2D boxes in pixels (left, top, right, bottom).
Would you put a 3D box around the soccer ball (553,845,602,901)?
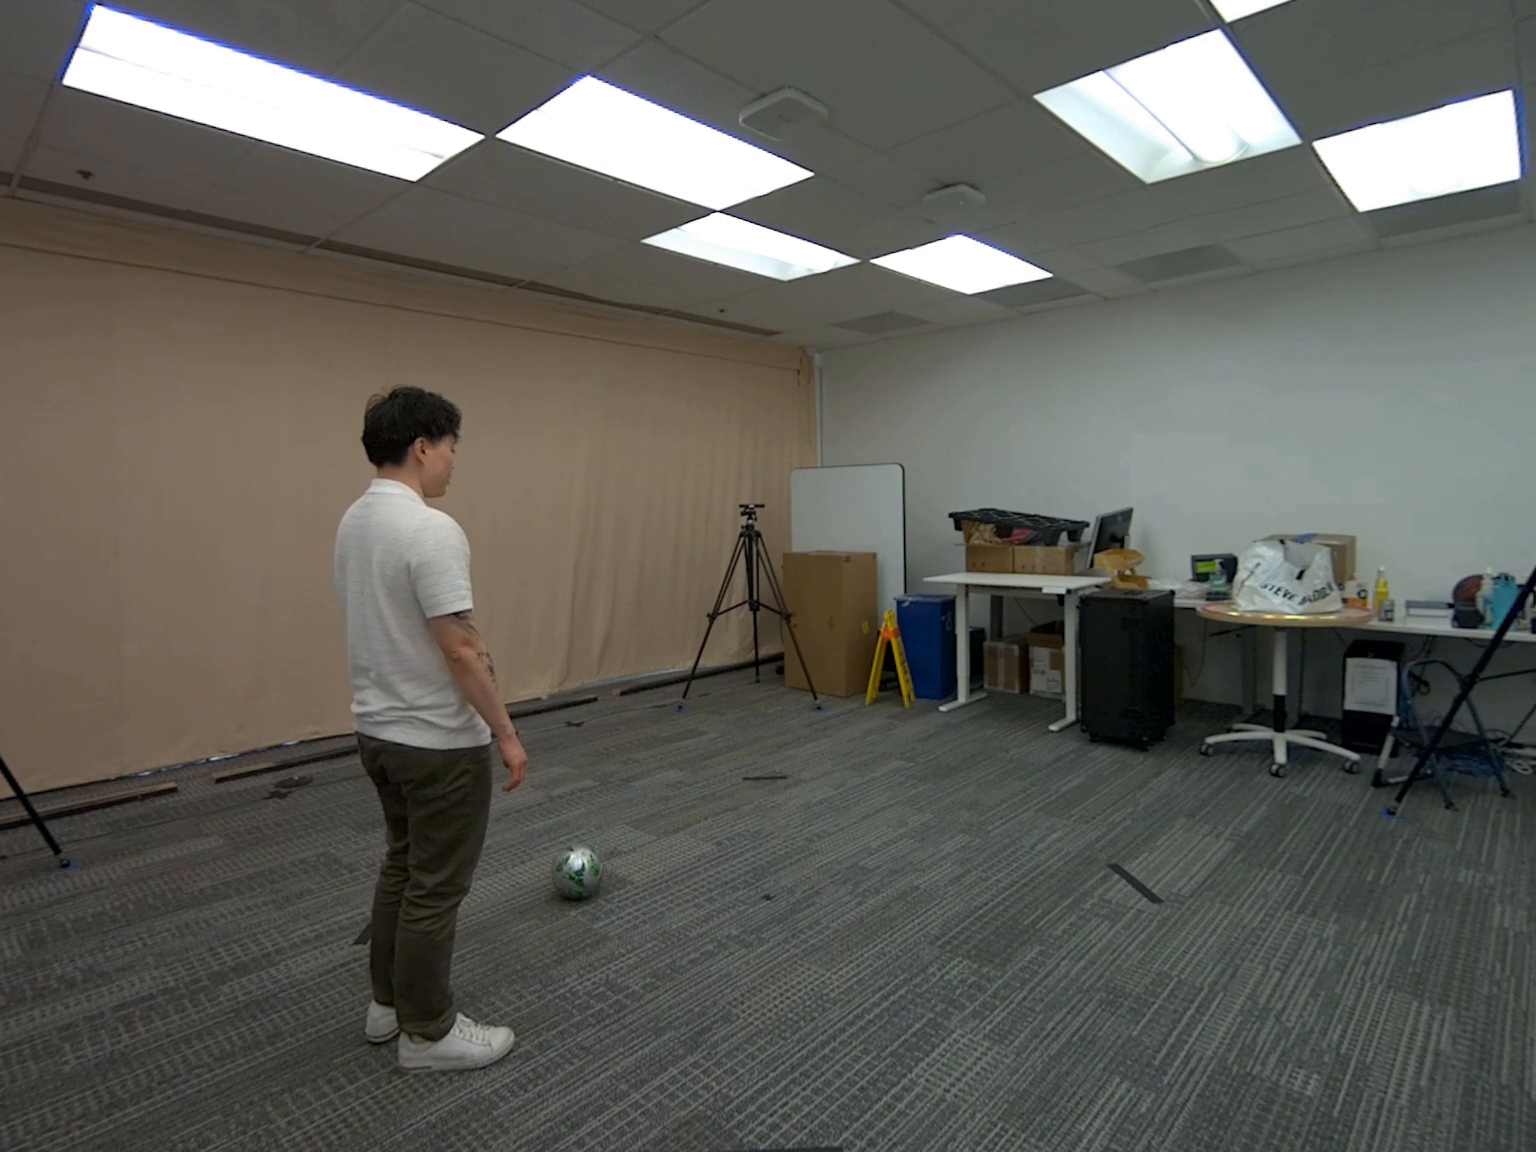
[{"bbox_3d":[-0.686,1.059,3.022,0.187,0.187,0.188,-1,4,-2],"label":"soccer ball"}]
